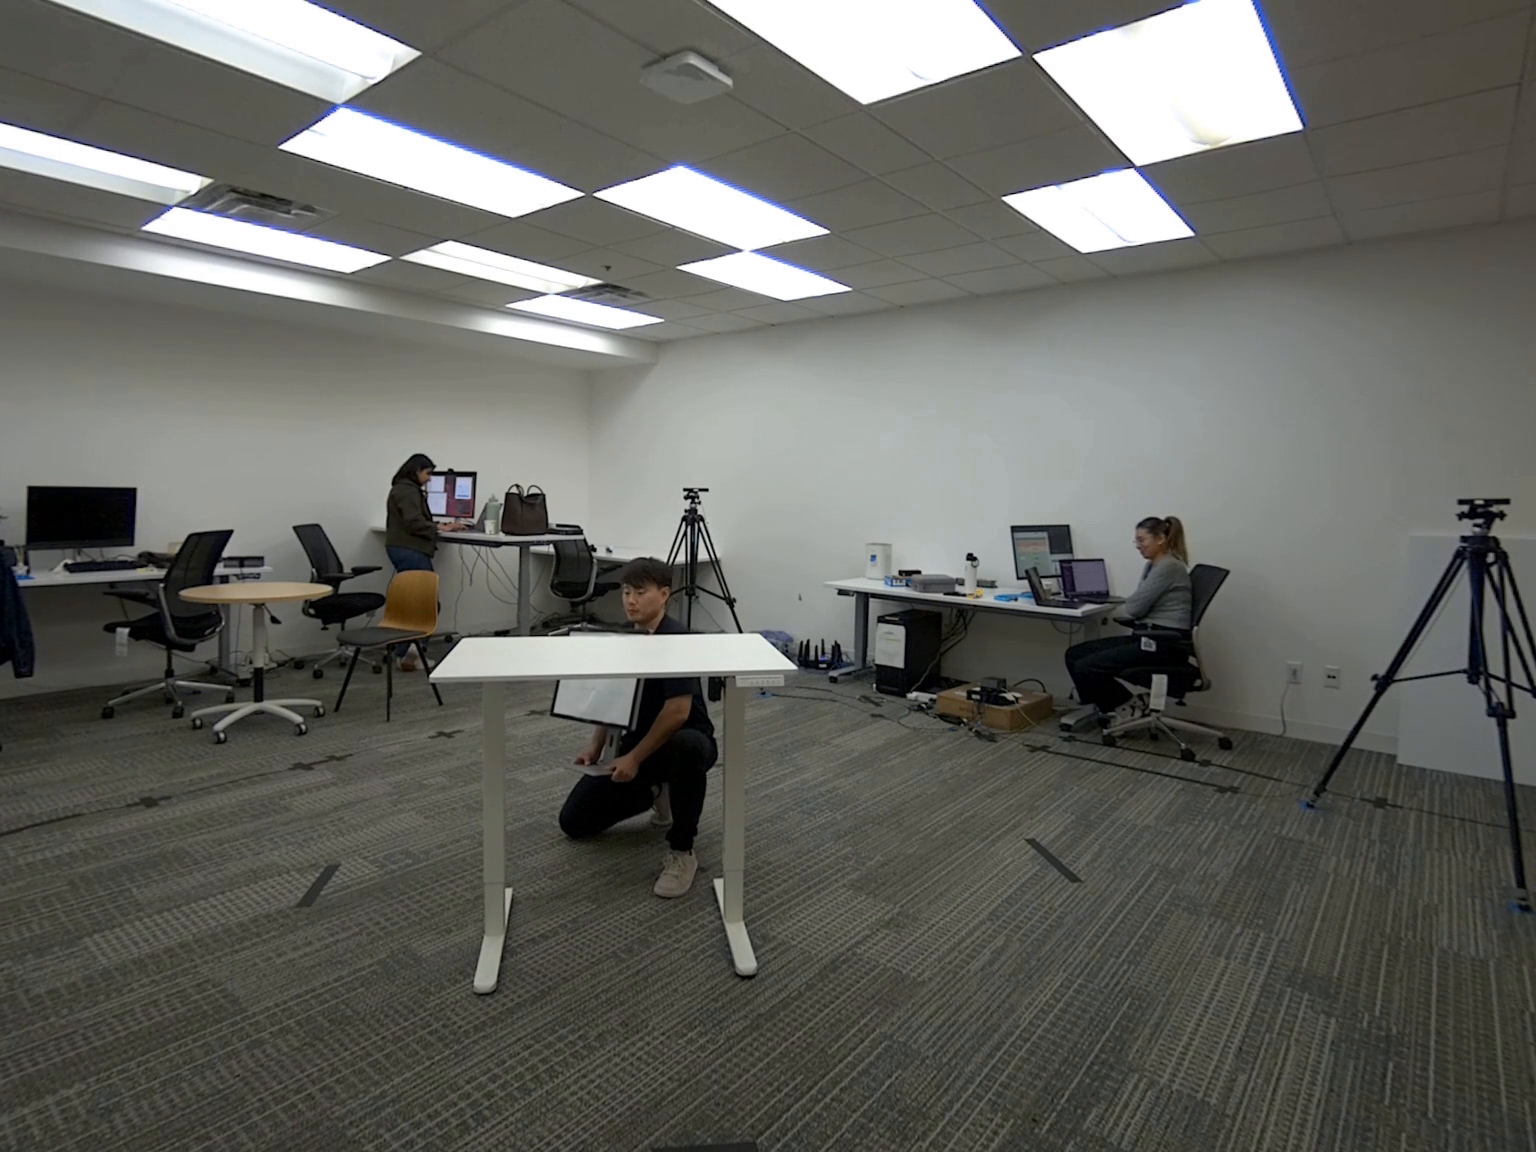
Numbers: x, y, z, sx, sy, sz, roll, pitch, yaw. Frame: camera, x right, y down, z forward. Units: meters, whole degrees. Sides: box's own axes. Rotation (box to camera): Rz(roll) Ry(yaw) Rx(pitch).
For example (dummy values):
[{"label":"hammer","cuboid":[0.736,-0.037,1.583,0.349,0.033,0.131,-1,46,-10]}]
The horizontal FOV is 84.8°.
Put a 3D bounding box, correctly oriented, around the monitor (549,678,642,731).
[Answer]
[{"label":"monitor","cuboid":[-0.643,0.467,3.264,0.181,0.525,0.555,4,-6,-45]}]
